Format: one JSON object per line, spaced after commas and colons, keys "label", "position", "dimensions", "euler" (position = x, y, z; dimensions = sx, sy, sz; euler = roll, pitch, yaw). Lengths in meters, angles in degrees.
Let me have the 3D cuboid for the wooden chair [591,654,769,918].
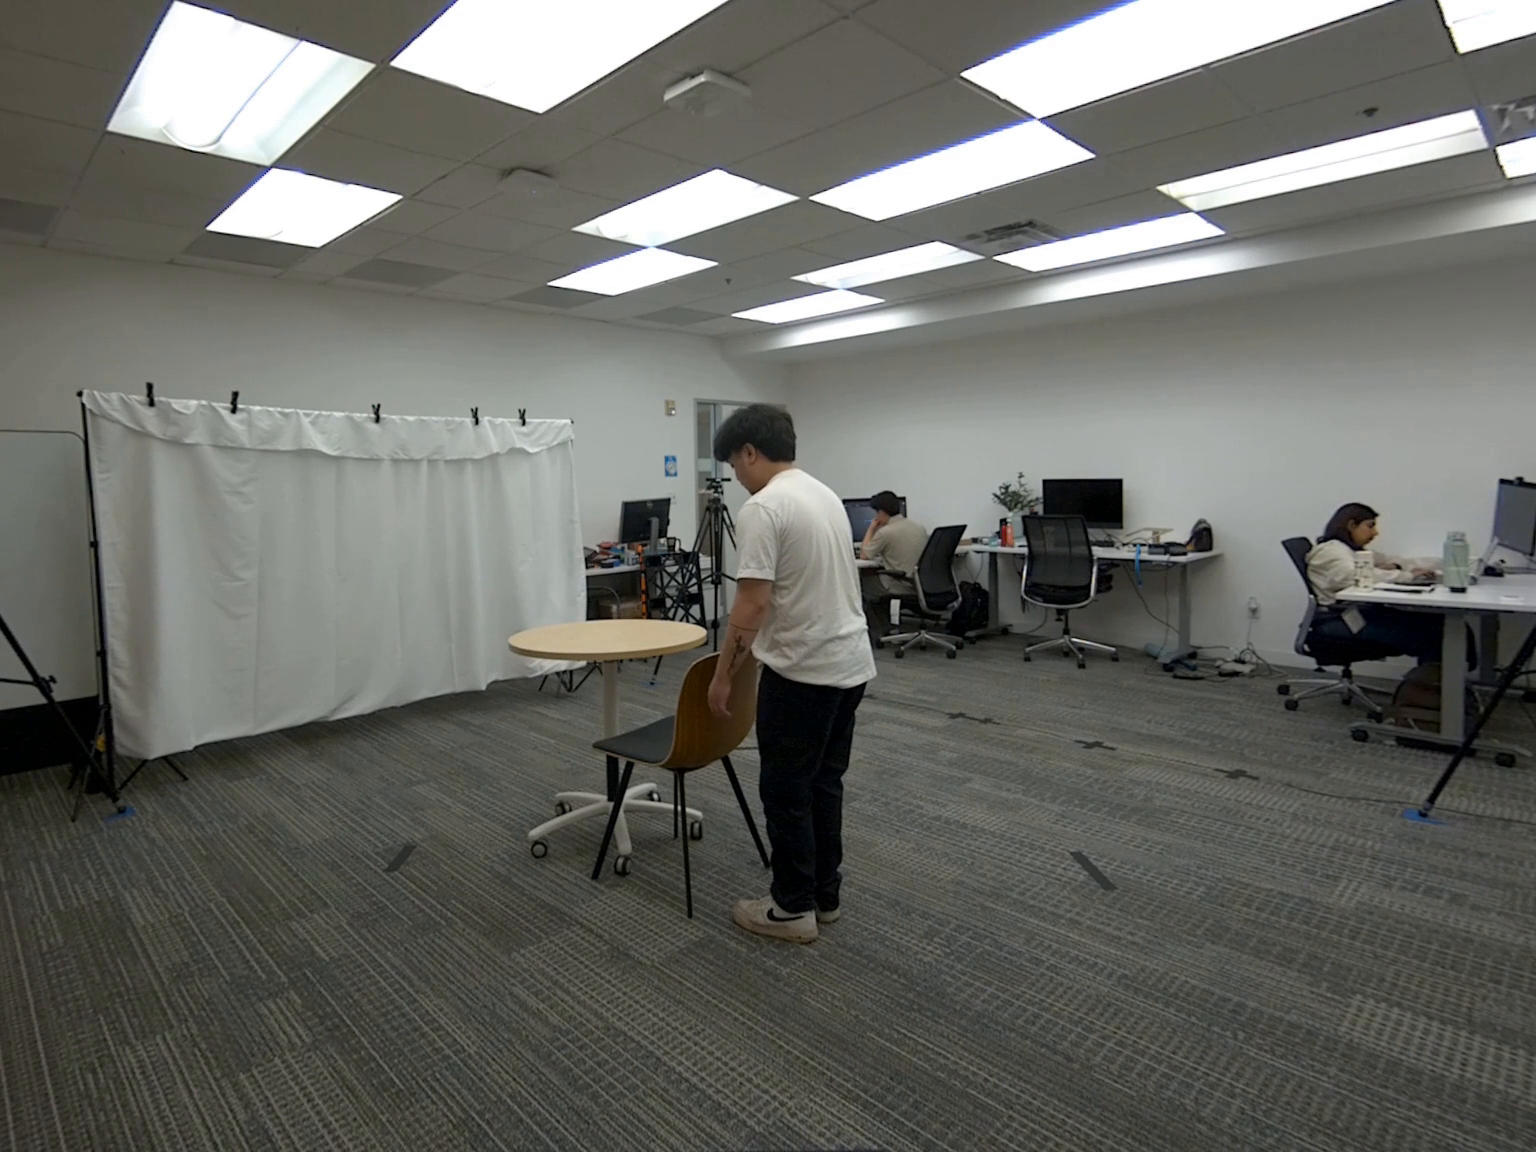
{"label": "wooden chair", "position": [-0.311, 0.632, 2.999], "dimensions": [0.539, 0.872, 0.466], "euler": [7, 9, 37]}
